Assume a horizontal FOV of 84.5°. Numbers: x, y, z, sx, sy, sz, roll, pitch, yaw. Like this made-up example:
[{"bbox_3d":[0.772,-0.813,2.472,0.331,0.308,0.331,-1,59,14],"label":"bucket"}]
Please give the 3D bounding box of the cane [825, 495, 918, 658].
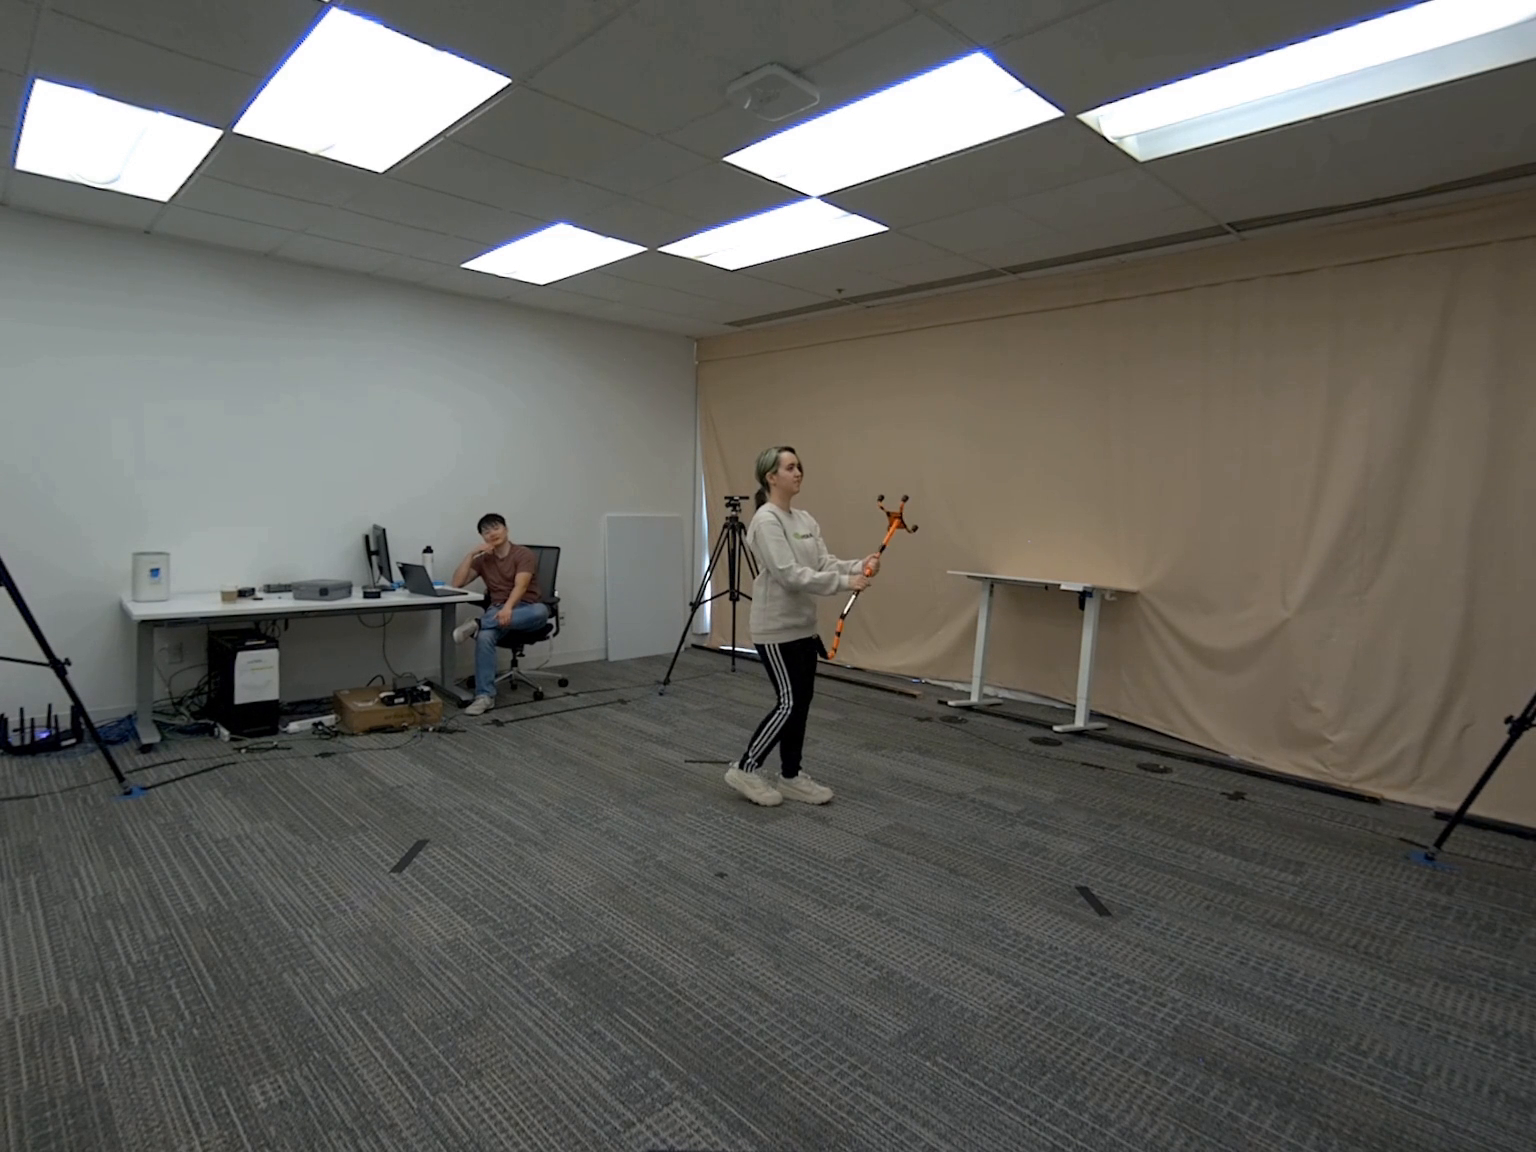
[{"bbox_3d":[0.396,0.010,3.652,0.155,0.201,0.912,3,44,34],"label":"cane"}]
